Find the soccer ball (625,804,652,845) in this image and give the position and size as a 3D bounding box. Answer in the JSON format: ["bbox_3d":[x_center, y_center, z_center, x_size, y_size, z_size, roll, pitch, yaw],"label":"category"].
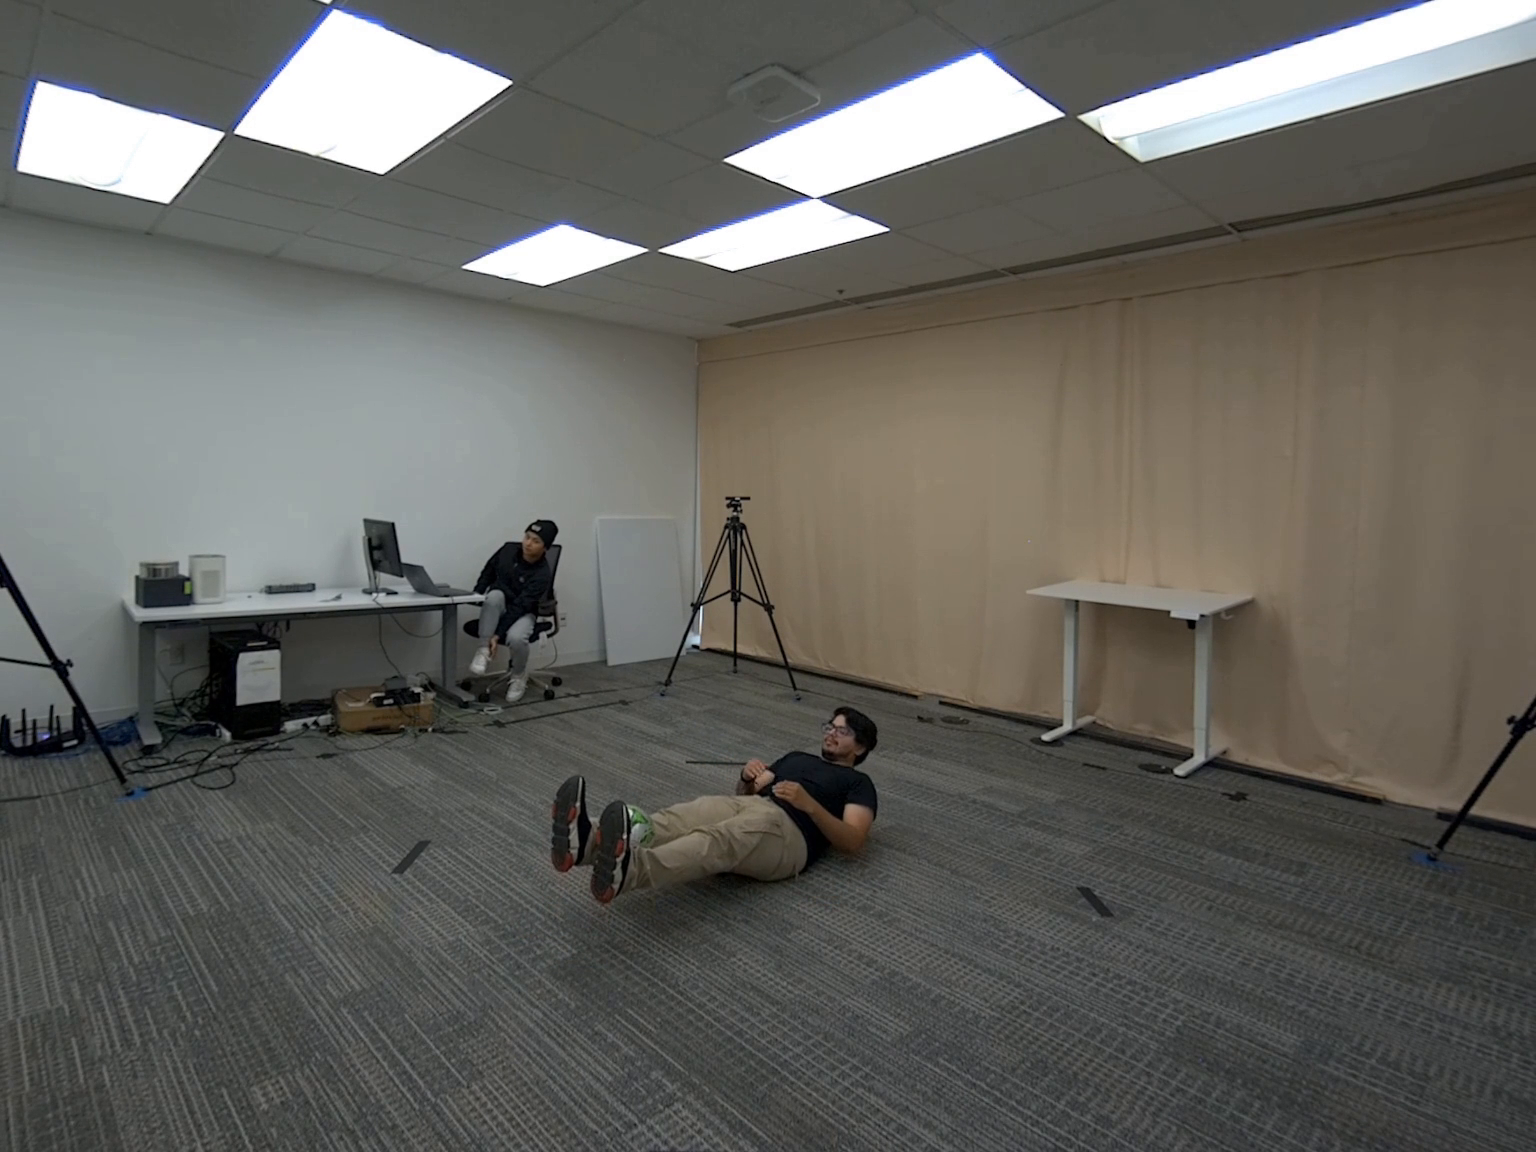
[{"bbox_3d":[-0.467,0.846,2.703,0.187,0.187,0.188,1,5,-1],"label":"soccer ball"}]
